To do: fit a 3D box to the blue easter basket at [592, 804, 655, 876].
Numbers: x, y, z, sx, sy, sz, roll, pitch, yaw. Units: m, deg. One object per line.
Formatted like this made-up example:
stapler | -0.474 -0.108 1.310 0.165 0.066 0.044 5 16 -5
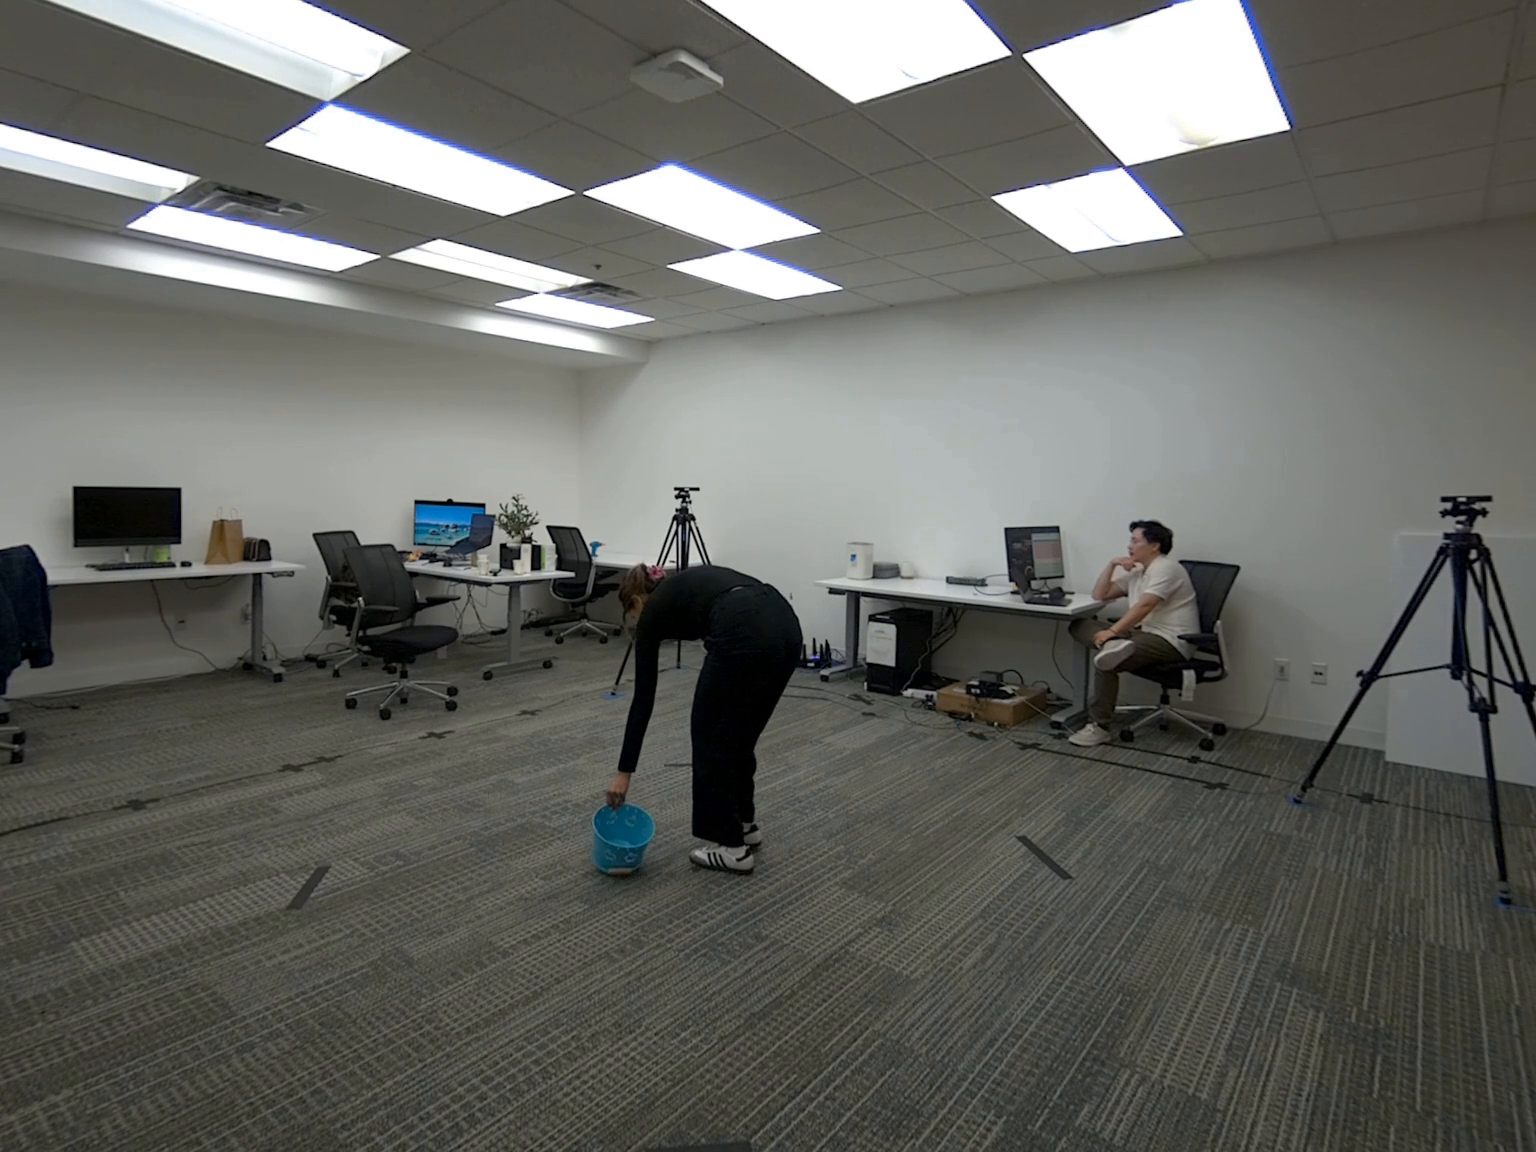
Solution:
blue easter basket | -0.544 0.963 3.091 0.242 0.154 0.248 10 20 -6
